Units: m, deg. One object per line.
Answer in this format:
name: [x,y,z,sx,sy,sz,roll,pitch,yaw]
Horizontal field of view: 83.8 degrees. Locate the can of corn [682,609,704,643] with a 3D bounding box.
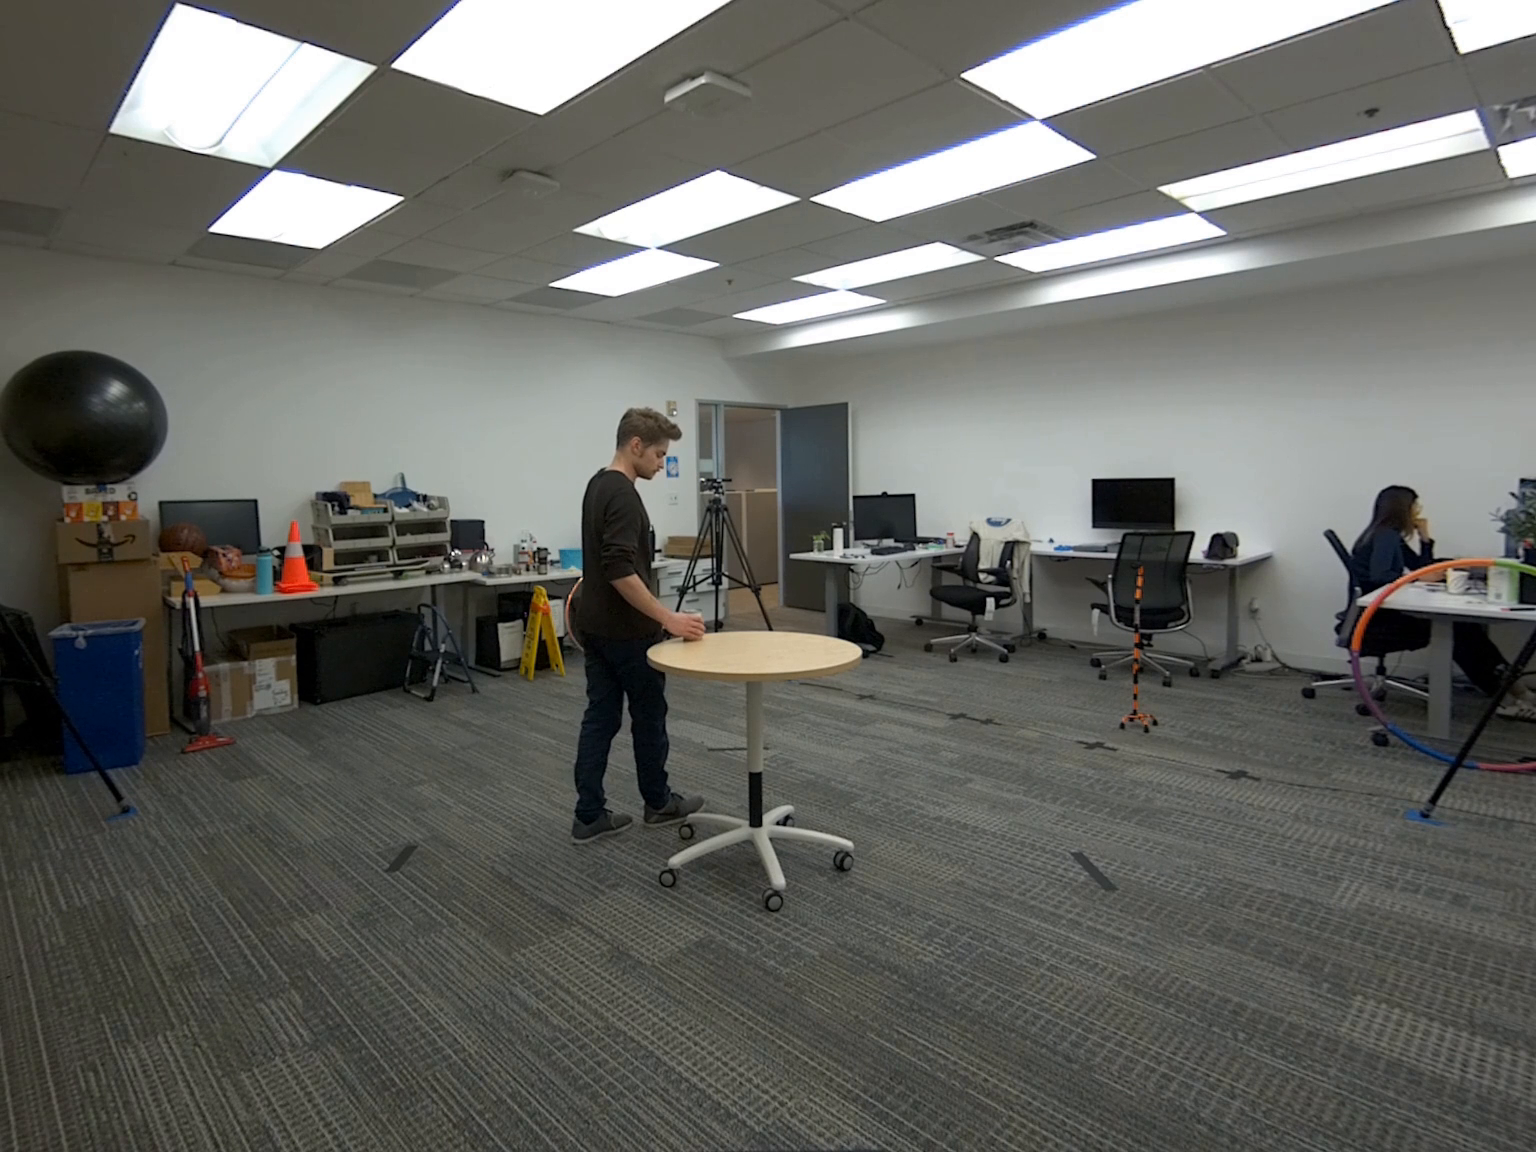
can of corn: [-0.289,0.188,3.271,0.074,0.110,0.075,-2,6,-1]
